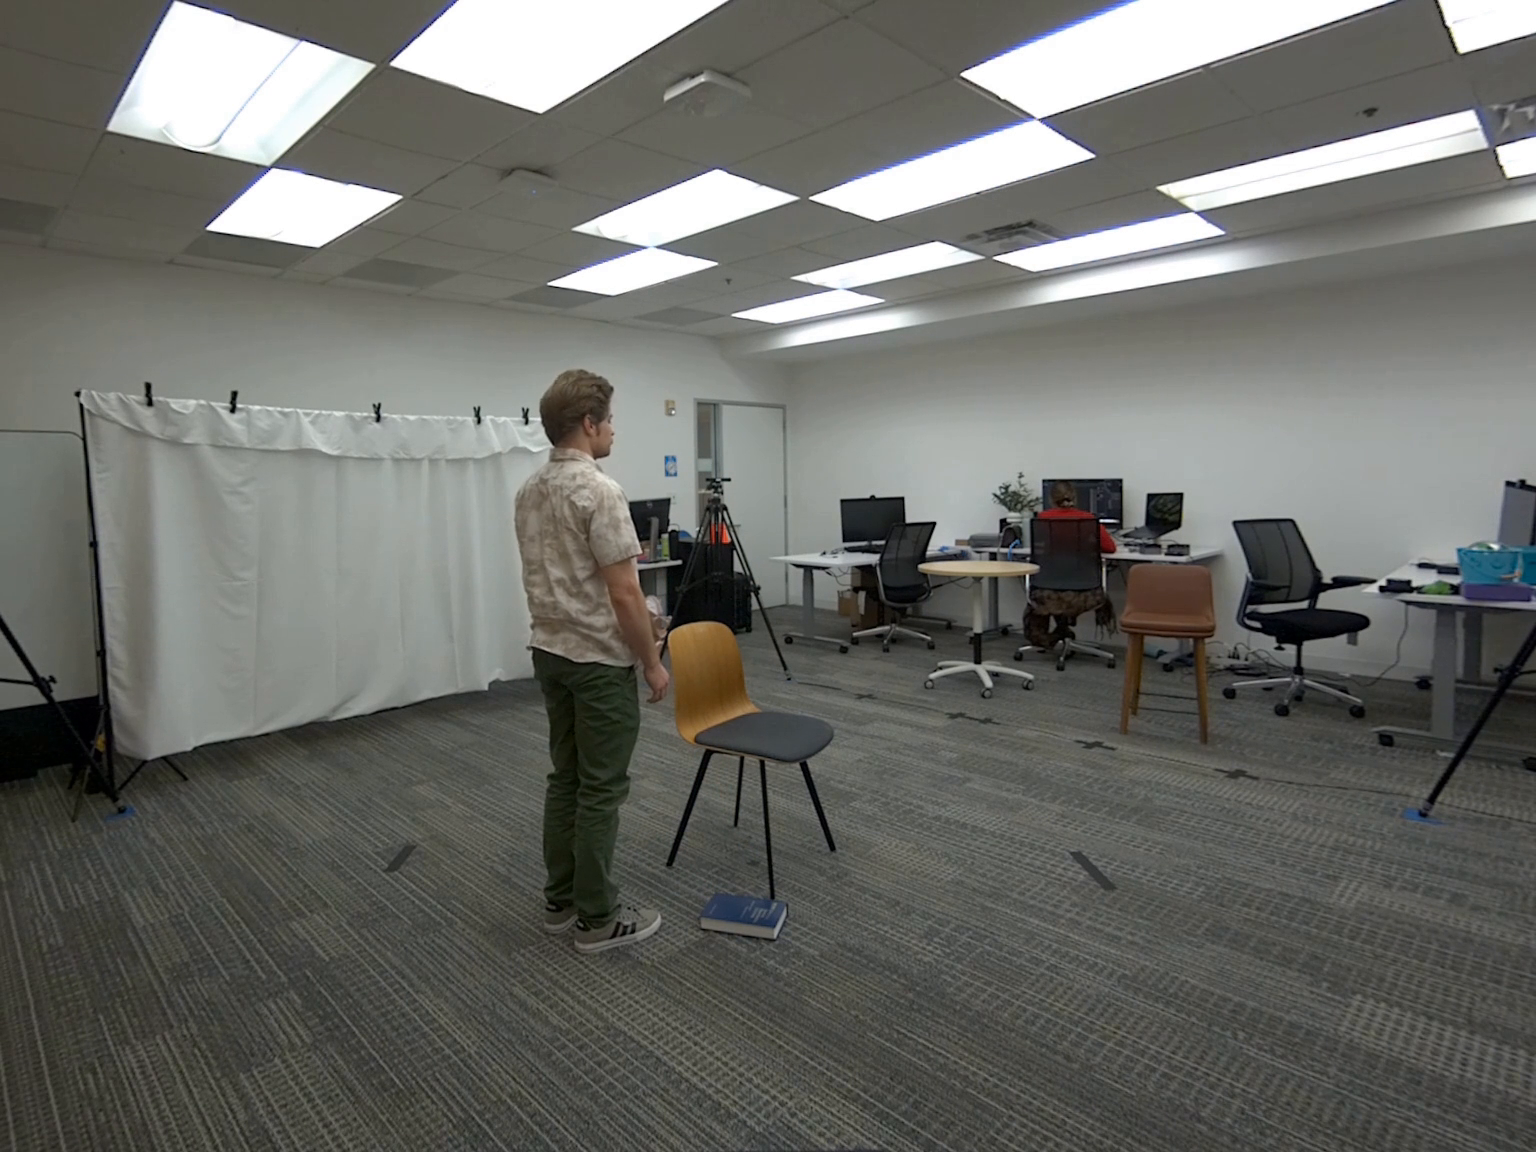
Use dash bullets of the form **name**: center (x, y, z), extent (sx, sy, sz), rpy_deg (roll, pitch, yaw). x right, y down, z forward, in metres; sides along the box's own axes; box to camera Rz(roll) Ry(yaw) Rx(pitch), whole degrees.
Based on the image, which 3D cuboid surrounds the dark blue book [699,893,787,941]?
- **dark blue book**: center (-0.073, 1.065, 2.685), extent (0.249, 0.045, 0.161), rpy_deg (1, 8, 17)
